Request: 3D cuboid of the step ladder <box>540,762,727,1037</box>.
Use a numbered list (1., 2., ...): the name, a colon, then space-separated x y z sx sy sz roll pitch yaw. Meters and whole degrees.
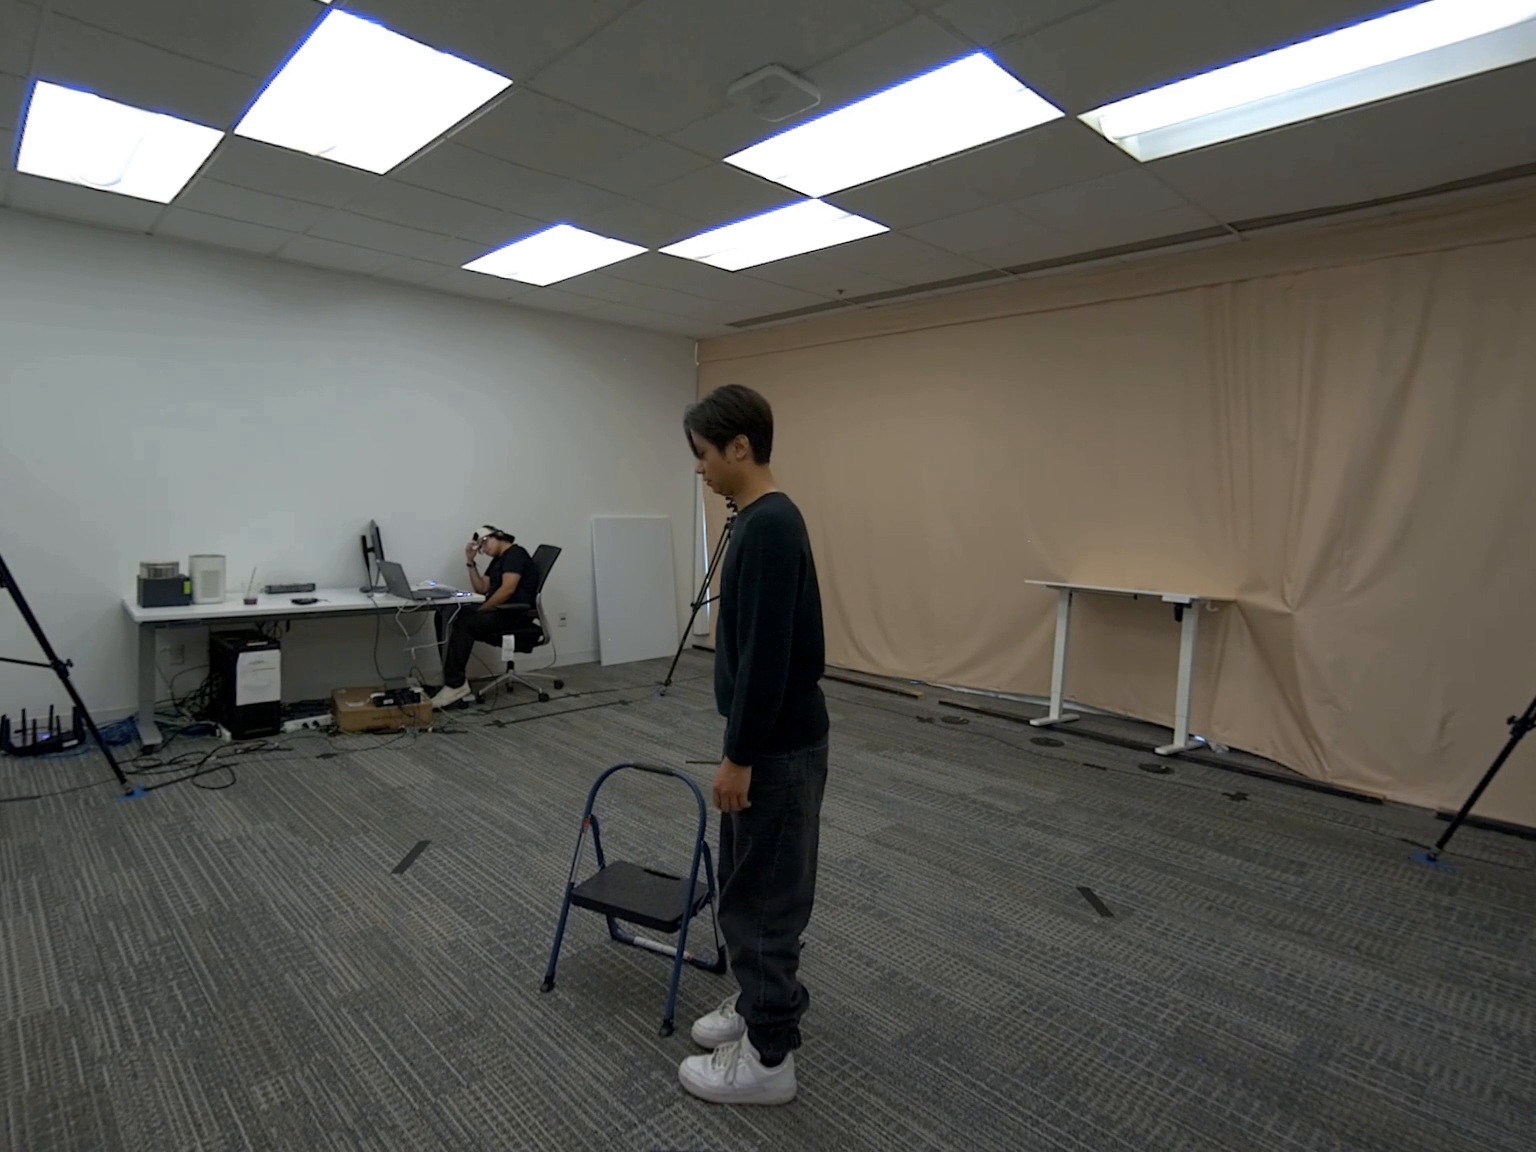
1. step ladder: -0.374 0.865 2.399 0.439 0.604 0.343 3 4 26
